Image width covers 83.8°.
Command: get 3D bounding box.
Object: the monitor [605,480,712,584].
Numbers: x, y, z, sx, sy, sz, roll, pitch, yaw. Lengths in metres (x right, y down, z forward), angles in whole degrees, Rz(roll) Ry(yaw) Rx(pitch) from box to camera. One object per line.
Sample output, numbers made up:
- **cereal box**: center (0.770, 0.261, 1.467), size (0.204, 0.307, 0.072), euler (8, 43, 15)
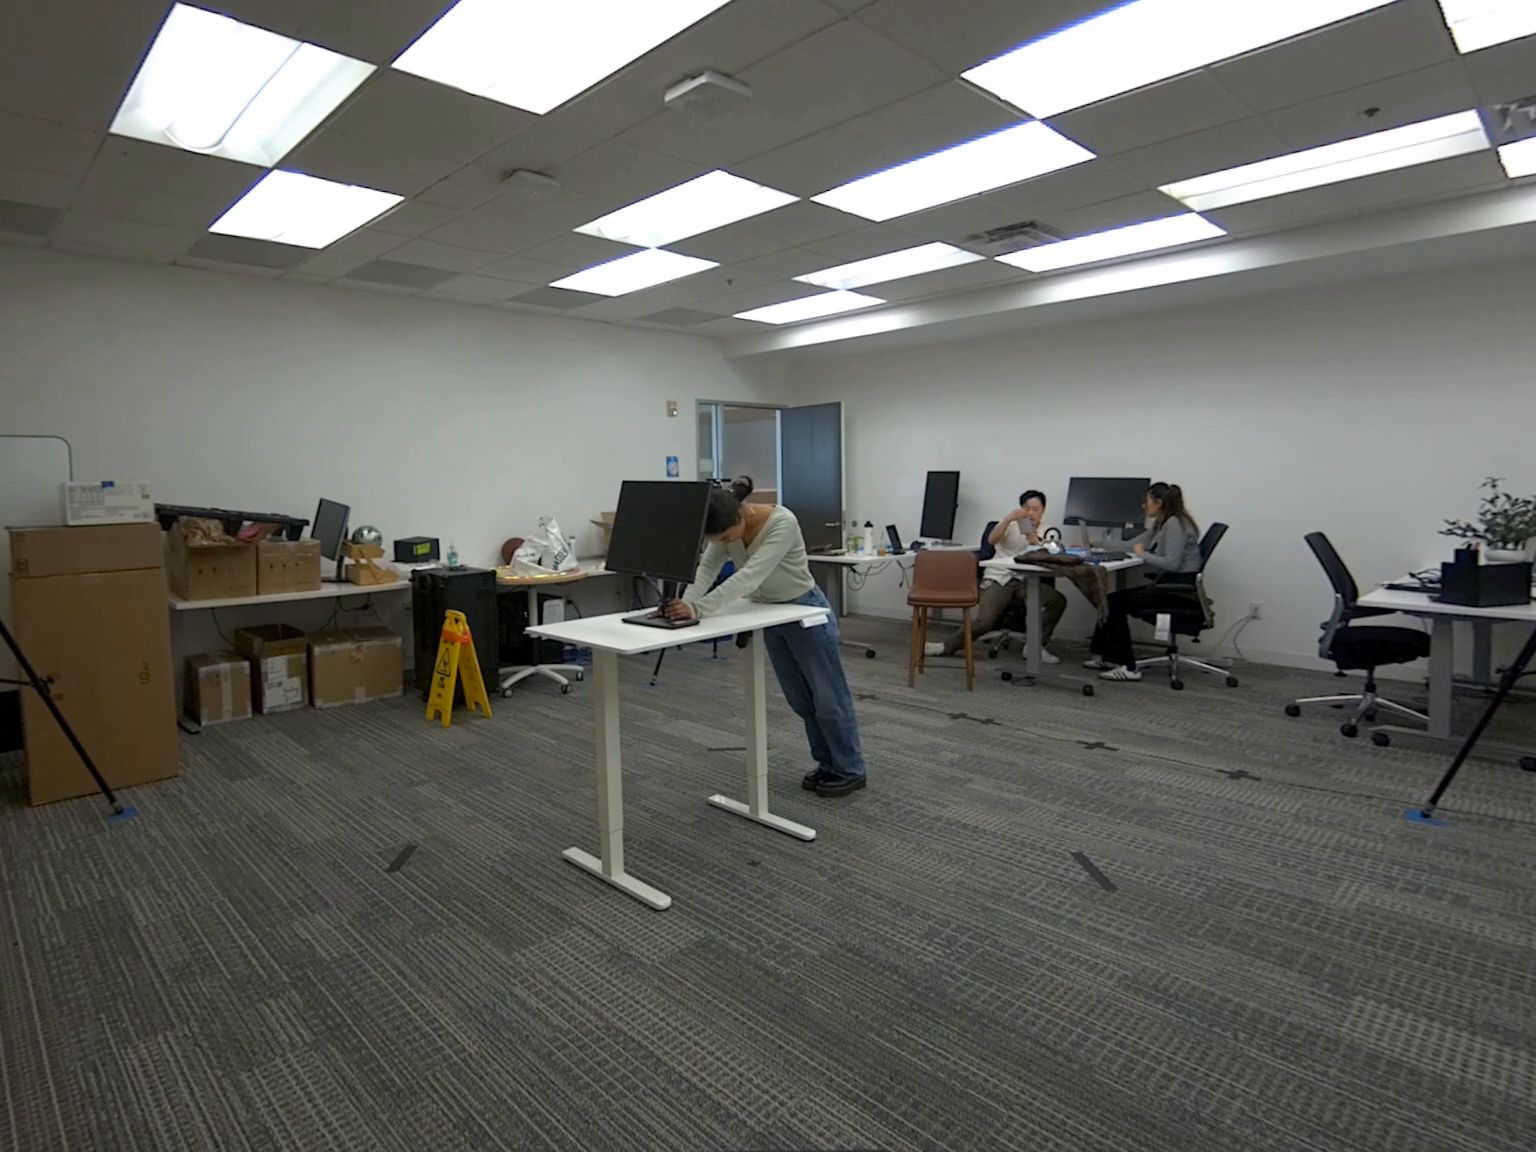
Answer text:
- **monitor**: center (-0.383, -0.082, 3.089), size (0.182, 0.521, 0.556), euler (-2, 5, -44)
